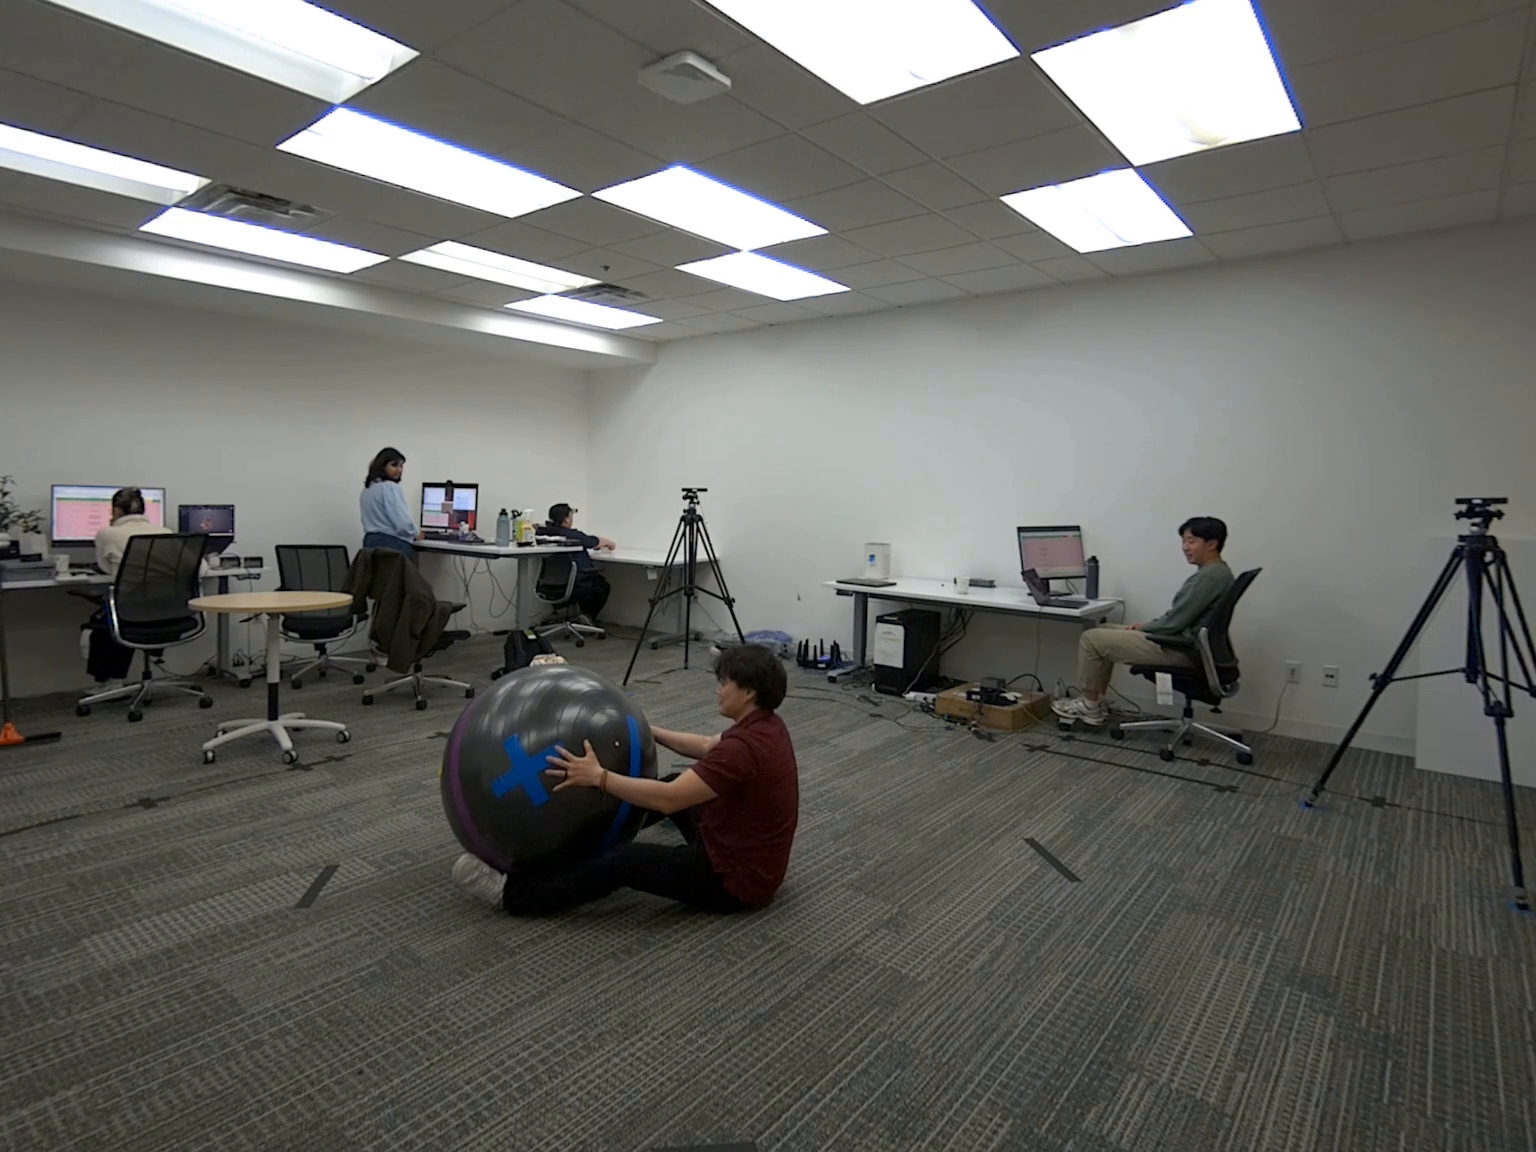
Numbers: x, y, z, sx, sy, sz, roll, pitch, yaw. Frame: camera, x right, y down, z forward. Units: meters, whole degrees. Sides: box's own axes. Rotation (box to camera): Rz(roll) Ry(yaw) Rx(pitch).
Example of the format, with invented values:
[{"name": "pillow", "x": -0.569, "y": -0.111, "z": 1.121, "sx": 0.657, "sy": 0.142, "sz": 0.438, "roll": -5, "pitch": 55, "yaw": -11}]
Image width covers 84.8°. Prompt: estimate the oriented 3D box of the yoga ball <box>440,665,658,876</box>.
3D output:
[{"name": "yoga ball", "x": -0.789, "y": 0.699, "z": 3.042, "sx": 0.757, "sy": 0.755, "sz": 0.762, "roll": 1, "pitch": 4, "yaw": -2}]
